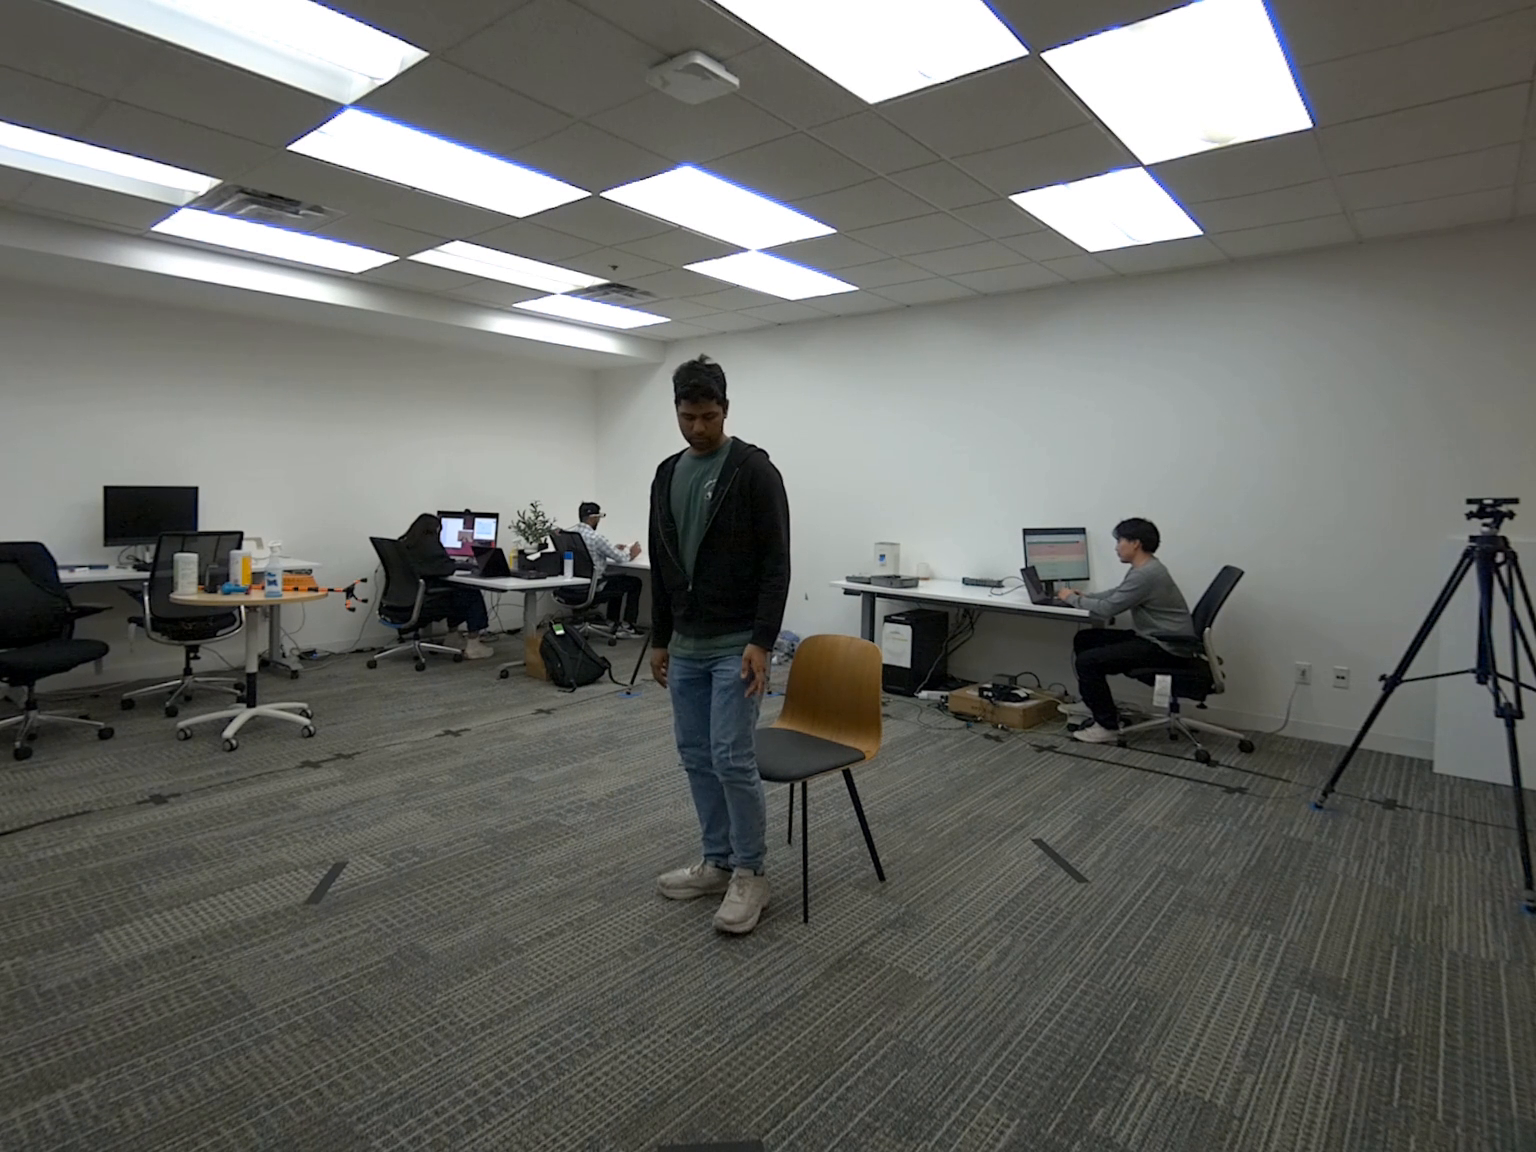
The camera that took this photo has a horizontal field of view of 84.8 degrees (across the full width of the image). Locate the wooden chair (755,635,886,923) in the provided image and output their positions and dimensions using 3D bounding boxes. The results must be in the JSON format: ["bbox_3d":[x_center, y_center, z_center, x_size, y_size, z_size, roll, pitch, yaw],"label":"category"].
[{"bbox_3d":[0.093,0.653,3.013,0.494,0.877,0.506,5,1,43],"label":"wooden chair"}]
